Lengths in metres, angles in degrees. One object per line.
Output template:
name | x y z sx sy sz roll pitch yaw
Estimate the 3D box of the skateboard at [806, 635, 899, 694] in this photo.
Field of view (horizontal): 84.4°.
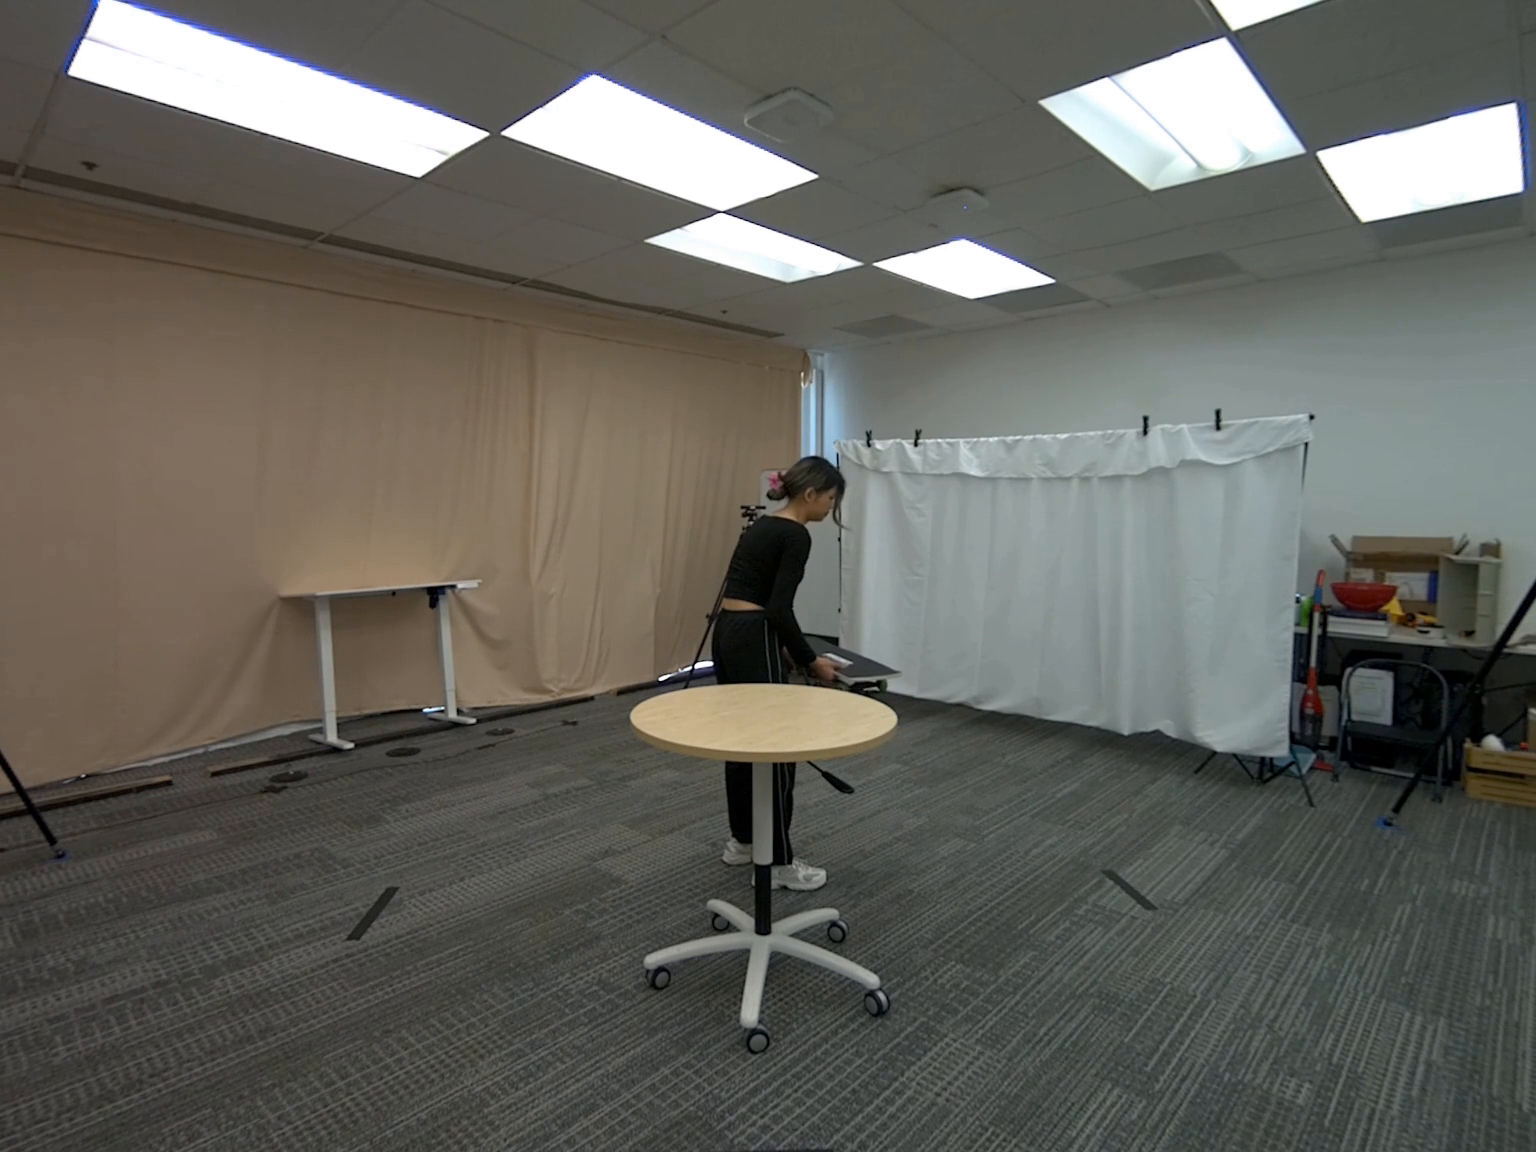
skateboard | 0.272 0.351 3.228 0.190 0.110 0.804 -7 8 -21
